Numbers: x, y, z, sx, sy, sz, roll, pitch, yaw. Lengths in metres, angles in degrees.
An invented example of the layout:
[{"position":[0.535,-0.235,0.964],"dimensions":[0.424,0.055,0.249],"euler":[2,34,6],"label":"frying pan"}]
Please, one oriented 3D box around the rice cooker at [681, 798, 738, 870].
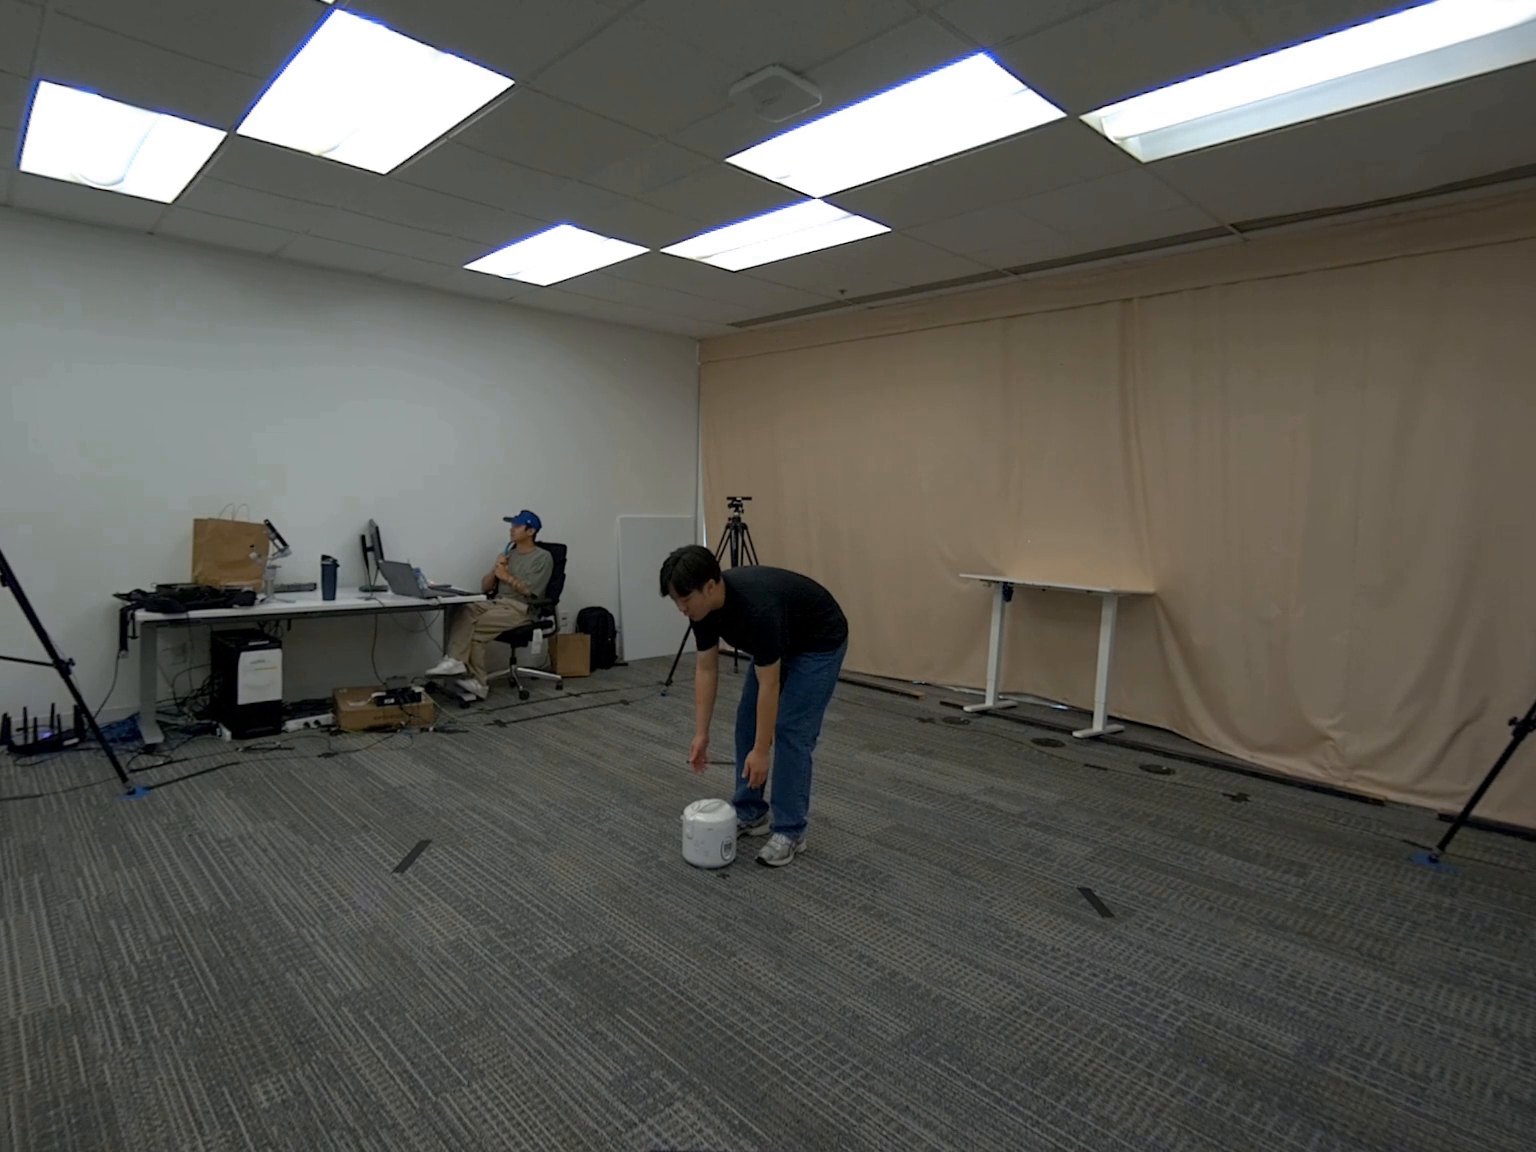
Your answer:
[{"position":[-0.226,0.977,3.231],"dimensions":[0.215,0.232,0.223],"euler":[-2,4,-42],"label":"rice cooker"}]
